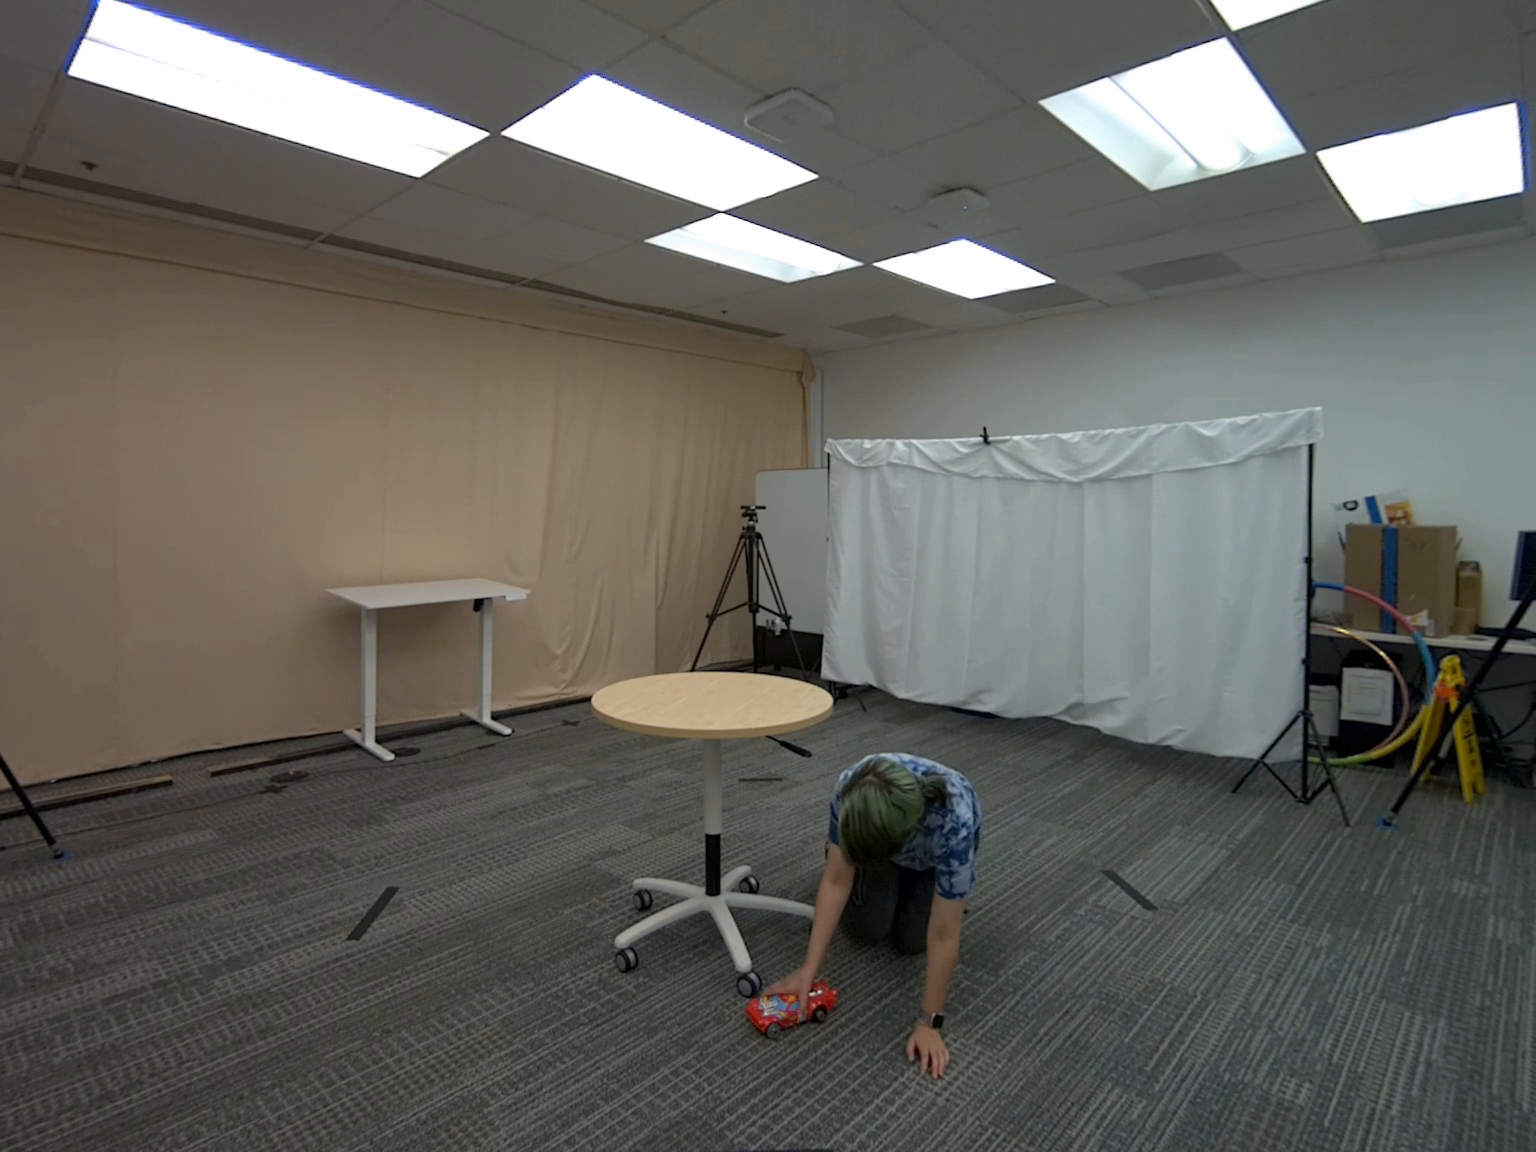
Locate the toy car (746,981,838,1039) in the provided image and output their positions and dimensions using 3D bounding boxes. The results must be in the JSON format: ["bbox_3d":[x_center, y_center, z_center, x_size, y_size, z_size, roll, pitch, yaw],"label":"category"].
[{"bbox_3d":[0.083,1.172,2.283,0.249,0.082,0.134,-17,11,-28],"label":"toy car"}]
